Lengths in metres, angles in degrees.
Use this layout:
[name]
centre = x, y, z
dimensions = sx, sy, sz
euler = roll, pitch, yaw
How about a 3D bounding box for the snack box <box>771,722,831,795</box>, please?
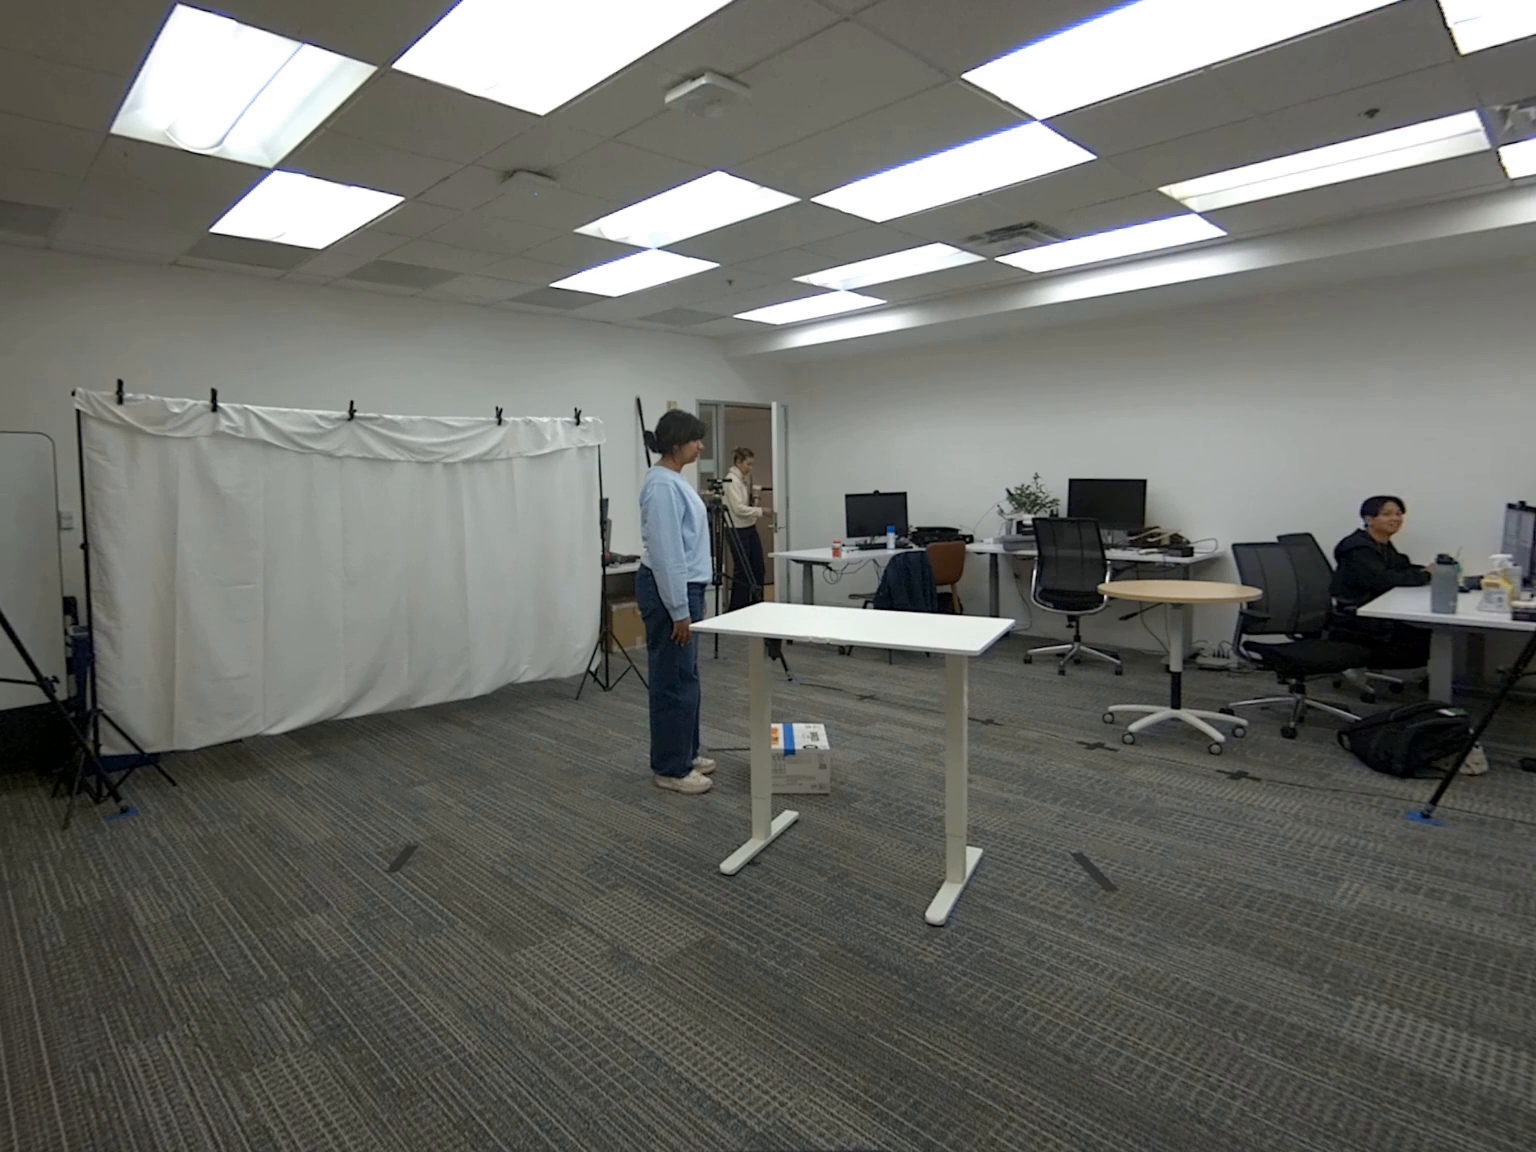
[snack box]
centre = 0.098, 0.839, 3.966
dimensions = 0.341, 0.205, 0.406
euler = -1, 5, 1
